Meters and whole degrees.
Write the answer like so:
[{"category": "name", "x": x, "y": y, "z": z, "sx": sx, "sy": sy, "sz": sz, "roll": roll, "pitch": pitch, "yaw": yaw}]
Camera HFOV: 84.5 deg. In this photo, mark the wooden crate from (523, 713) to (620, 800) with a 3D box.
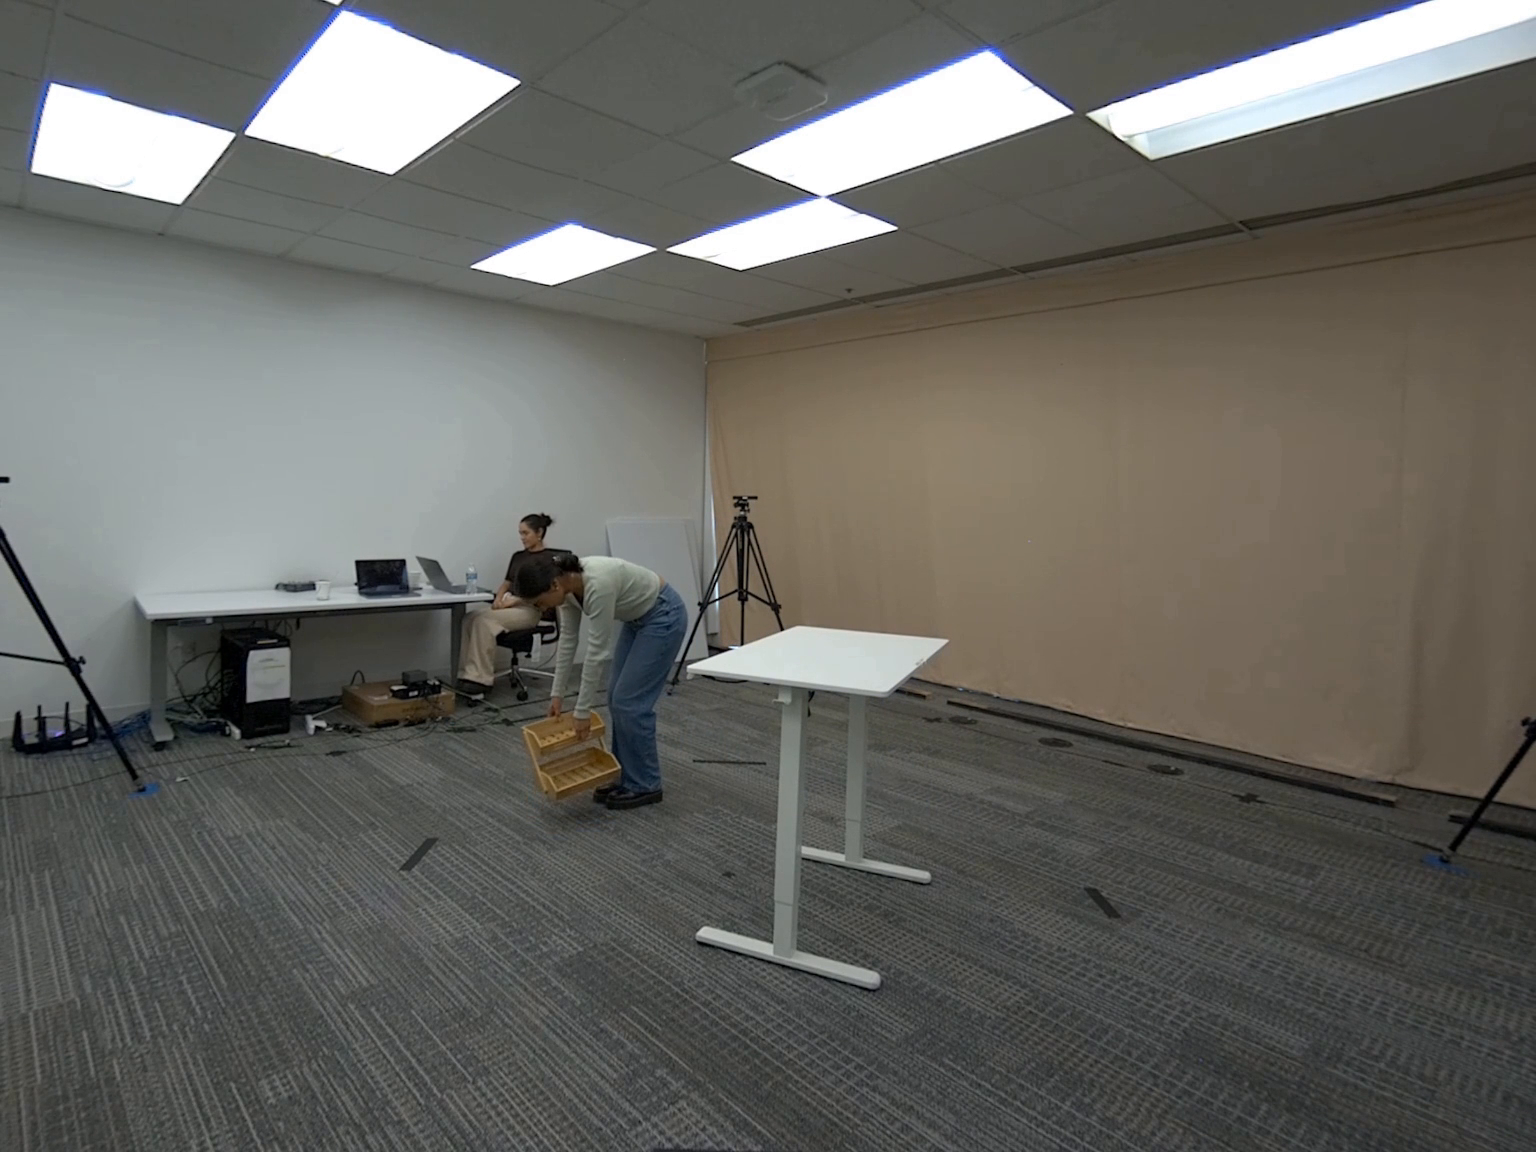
[{"category": "wooden crate", "x": -0.860, "y": 0.756, "z": 3.624, "sx": 0.319, "sy": 0.272, "sz": 0.309, "roll": -13, "pitch": 9, "yaw": -36}]
